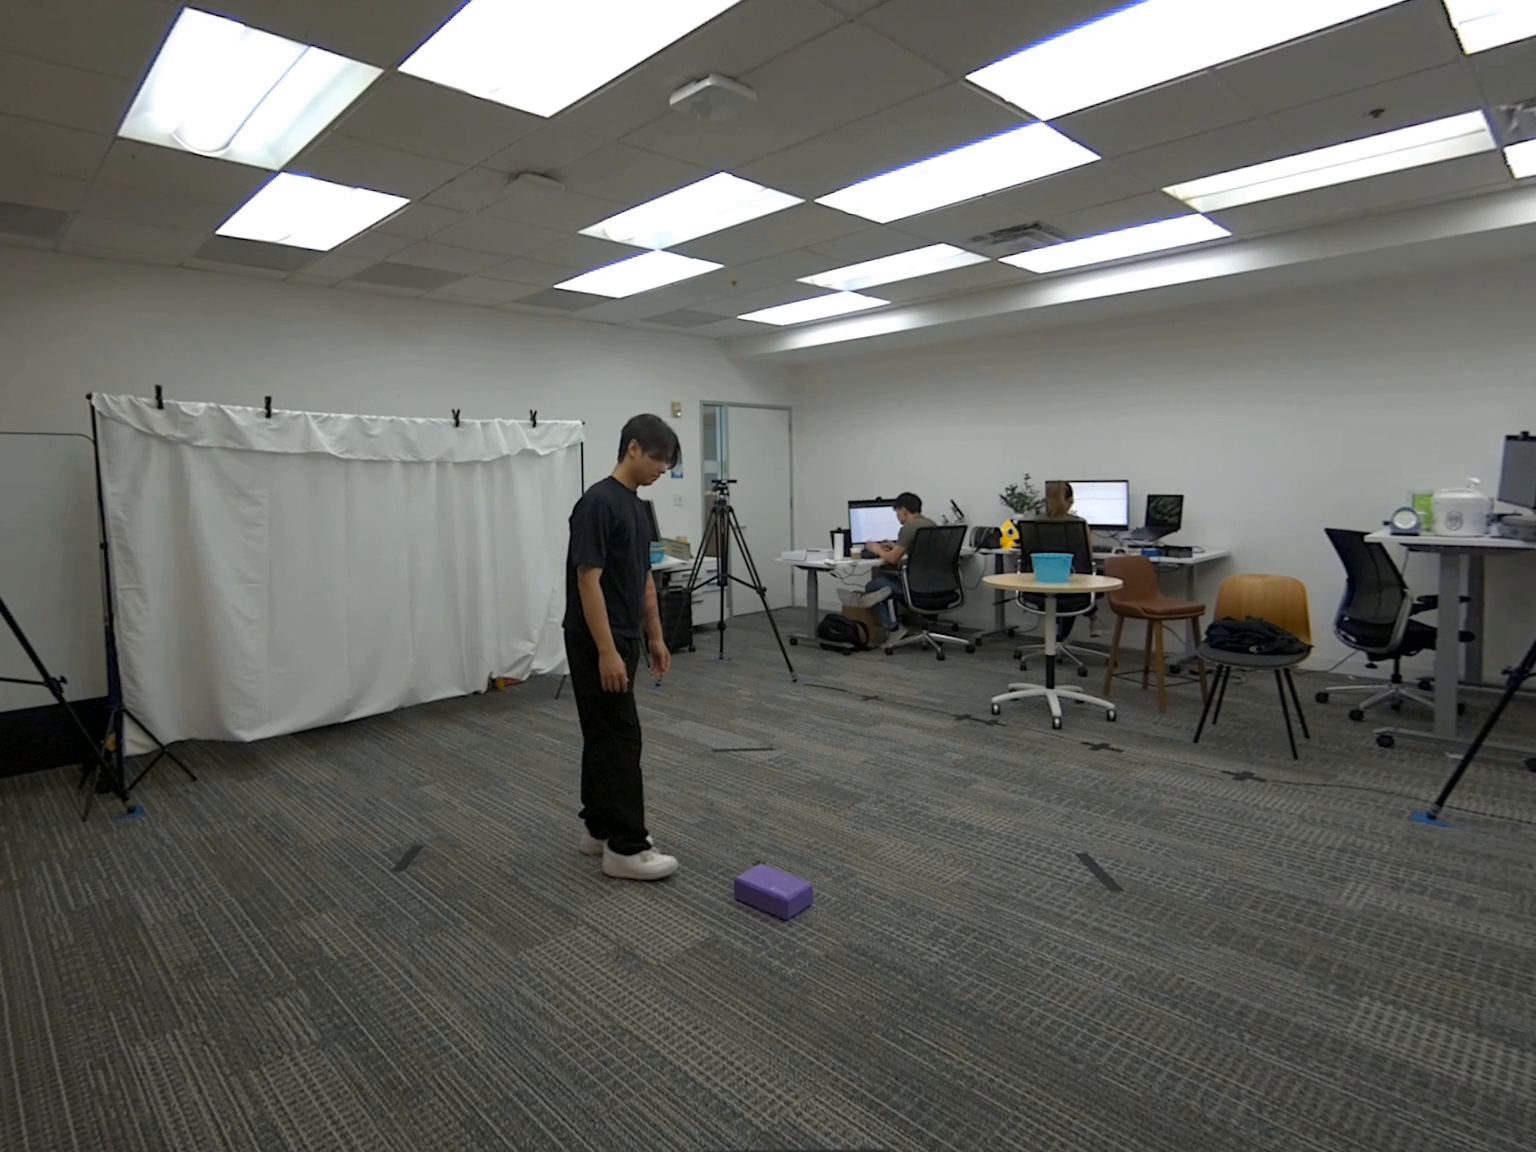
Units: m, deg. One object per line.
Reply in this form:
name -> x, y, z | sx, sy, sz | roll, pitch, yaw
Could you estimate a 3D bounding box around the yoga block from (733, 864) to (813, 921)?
yoga block -> 0.020, 1.040, 2.820 | 0.236, 0.076, 0.145 | 4, 8, 41
